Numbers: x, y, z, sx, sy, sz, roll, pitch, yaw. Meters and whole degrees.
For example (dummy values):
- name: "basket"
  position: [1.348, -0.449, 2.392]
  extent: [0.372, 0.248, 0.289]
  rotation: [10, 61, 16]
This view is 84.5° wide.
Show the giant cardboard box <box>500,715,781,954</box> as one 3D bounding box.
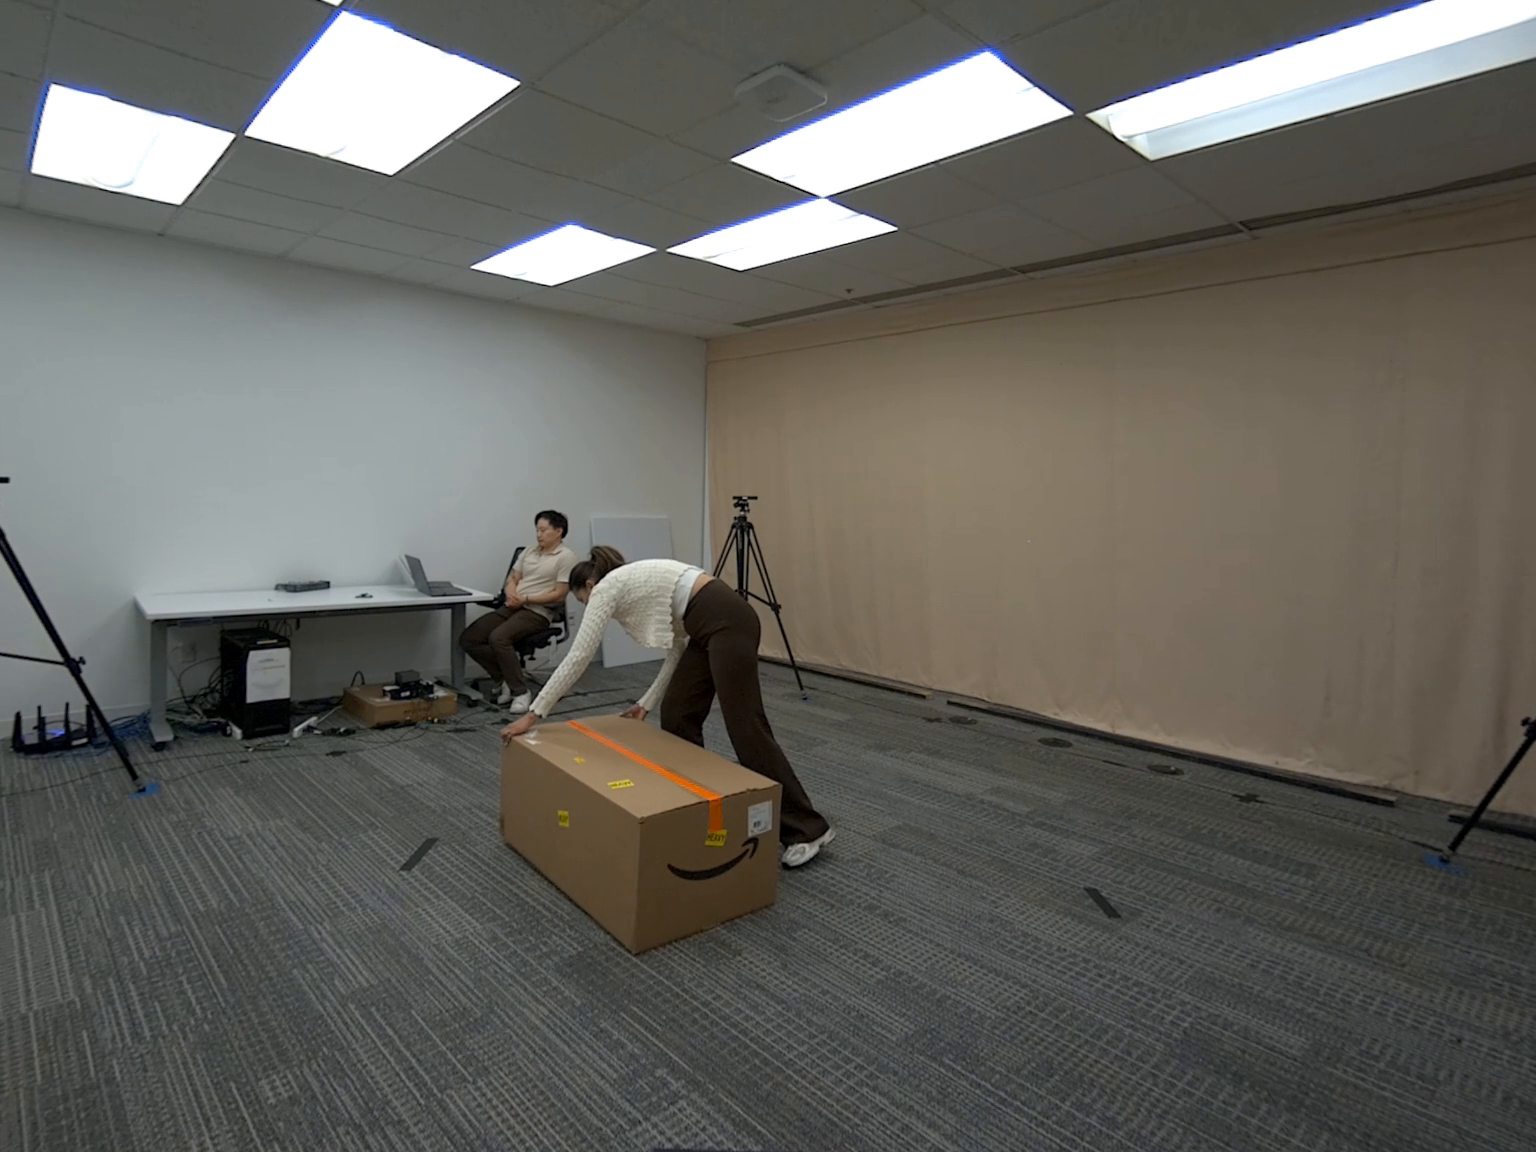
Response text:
- name: "giant cardboard box"
  position: [-0.514, 0.868, 3.089]
  extent: [0.564, 0.425, 1.053]
  rotation: [-2, 7, -40]
